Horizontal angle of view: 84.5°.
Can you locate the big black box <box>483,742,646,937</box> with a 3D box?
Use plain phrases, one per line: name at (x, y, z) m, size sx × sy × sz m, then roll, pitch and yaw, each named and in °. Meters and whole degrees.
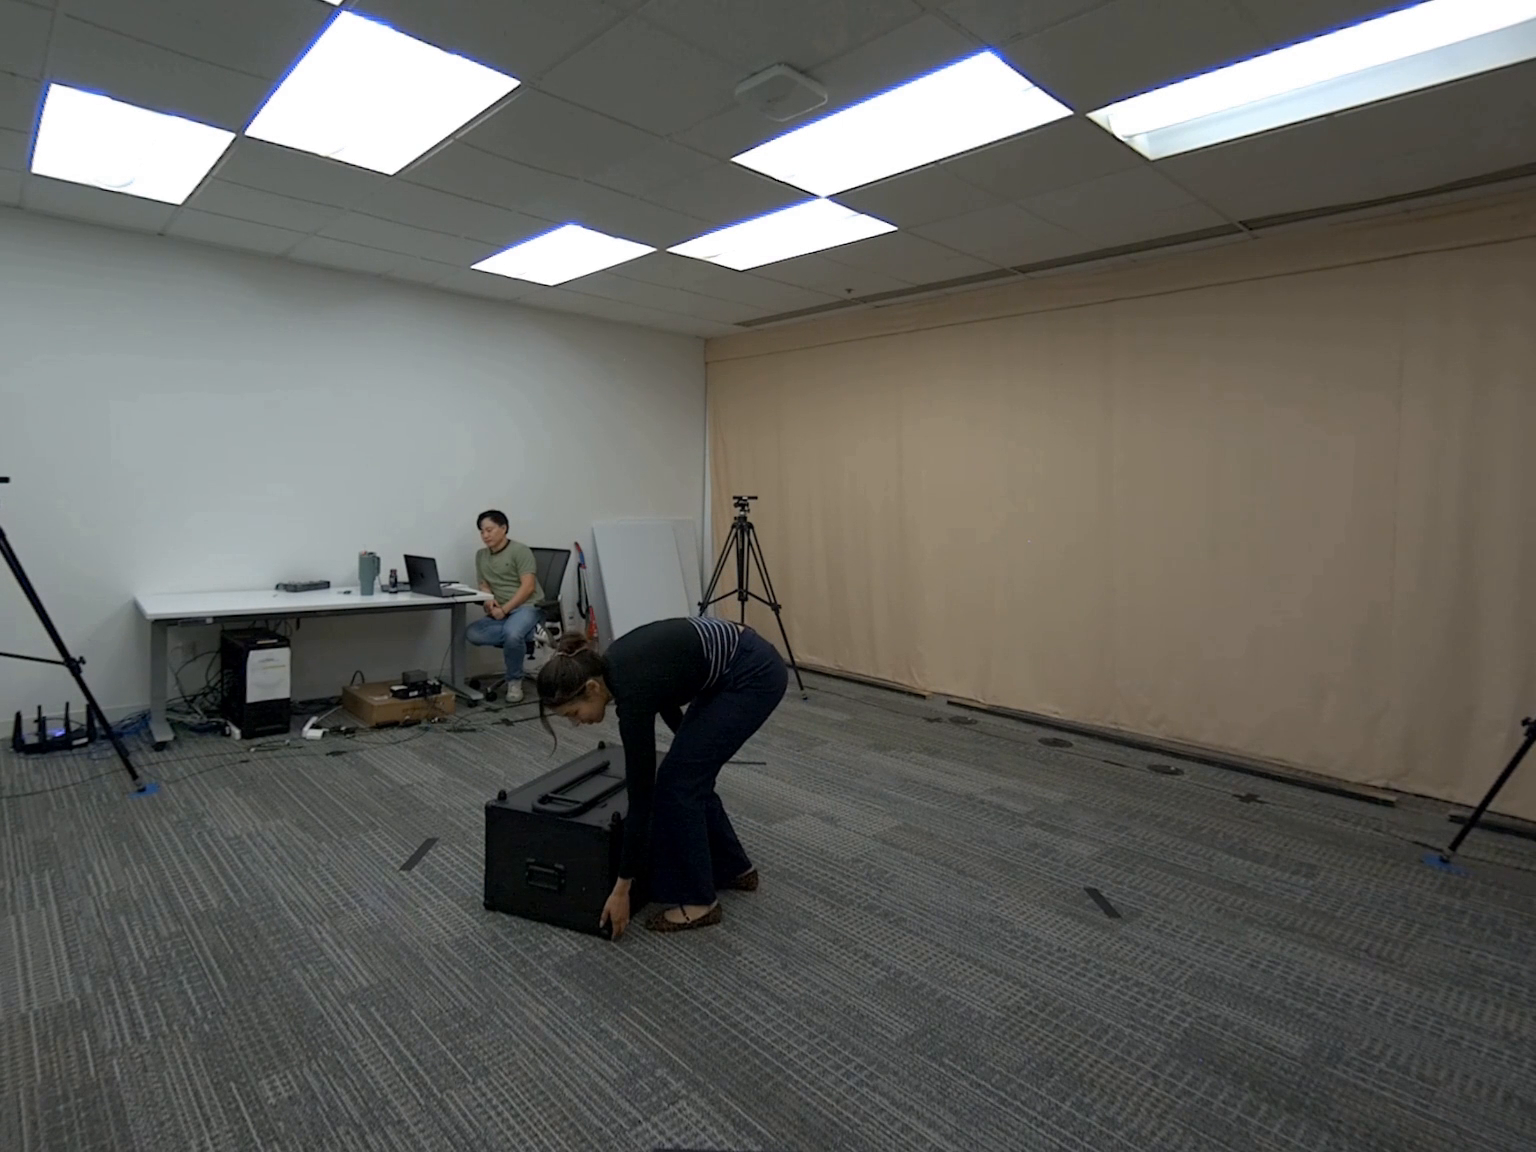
big black box at (-0.580, 0.897, 3.100) m, size 0.530 × 0.395 × 0.848 m, roll 3°, pitch 4°, yaw 21°
